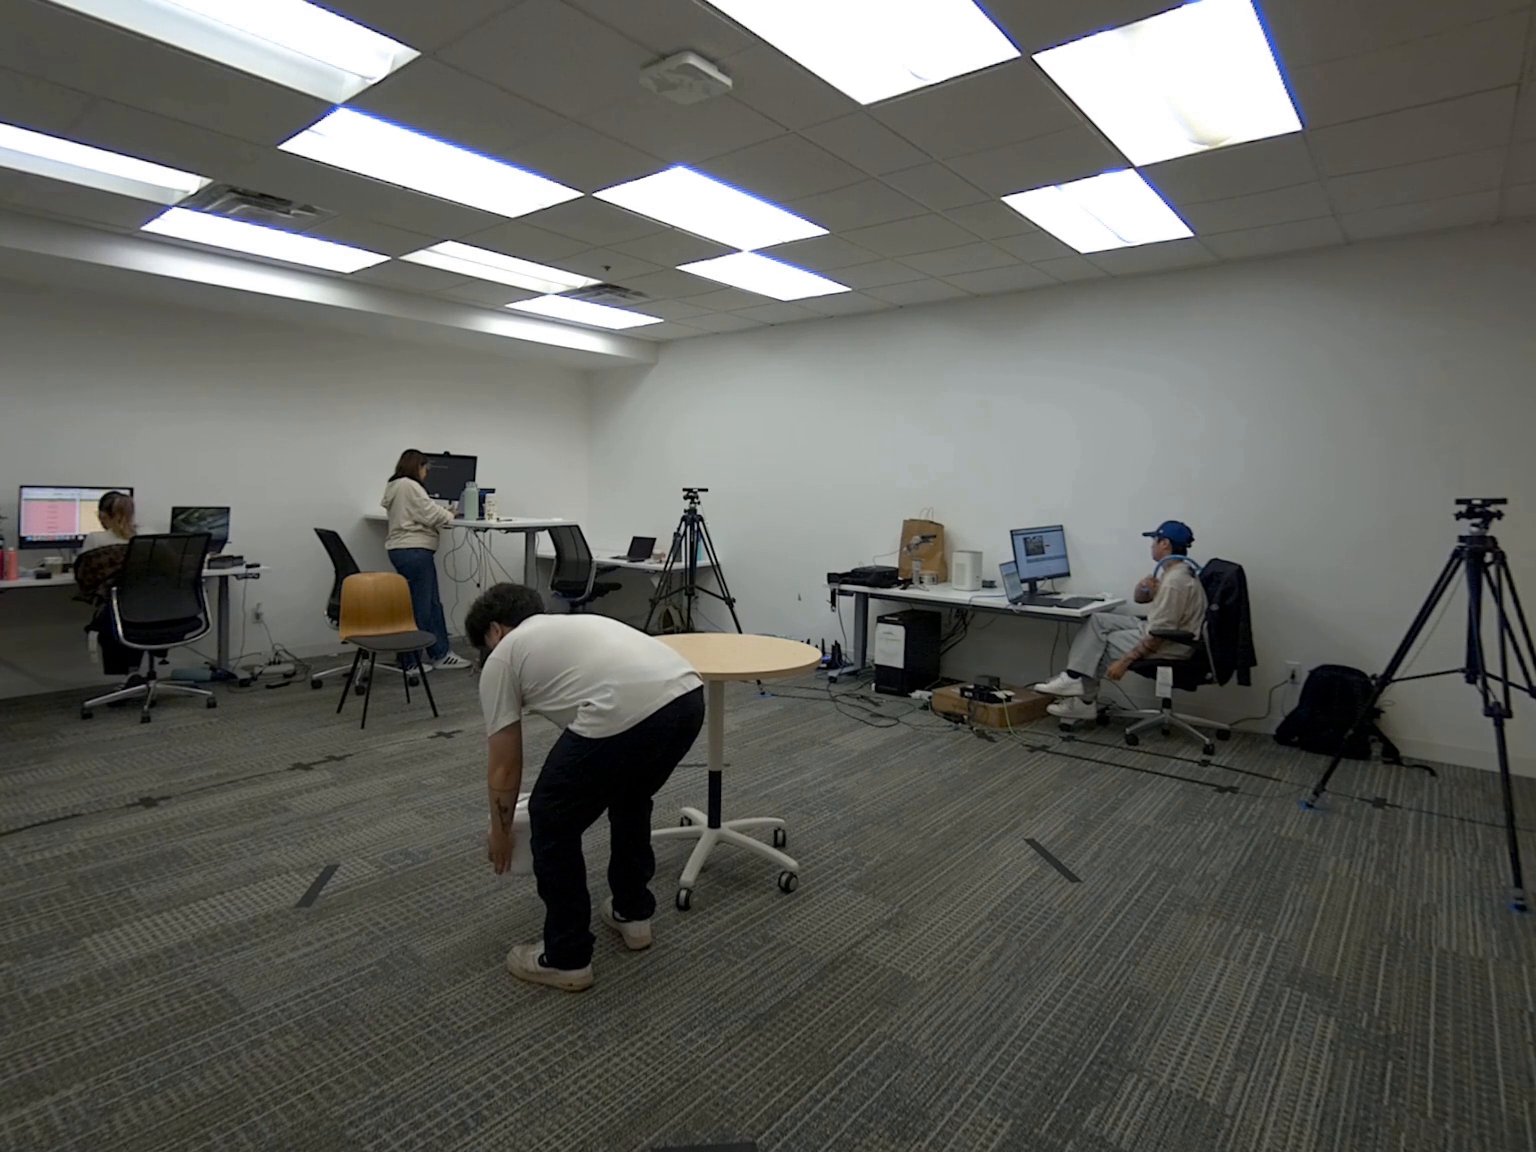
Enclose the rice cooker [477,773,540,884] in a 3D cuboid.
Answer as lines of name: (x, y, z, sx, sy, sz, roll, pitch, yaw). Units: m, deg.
rice cooker: (-0.791, 0.811, 2.737, 0.225, 0.232, 0.214, 6, 7, 42)
